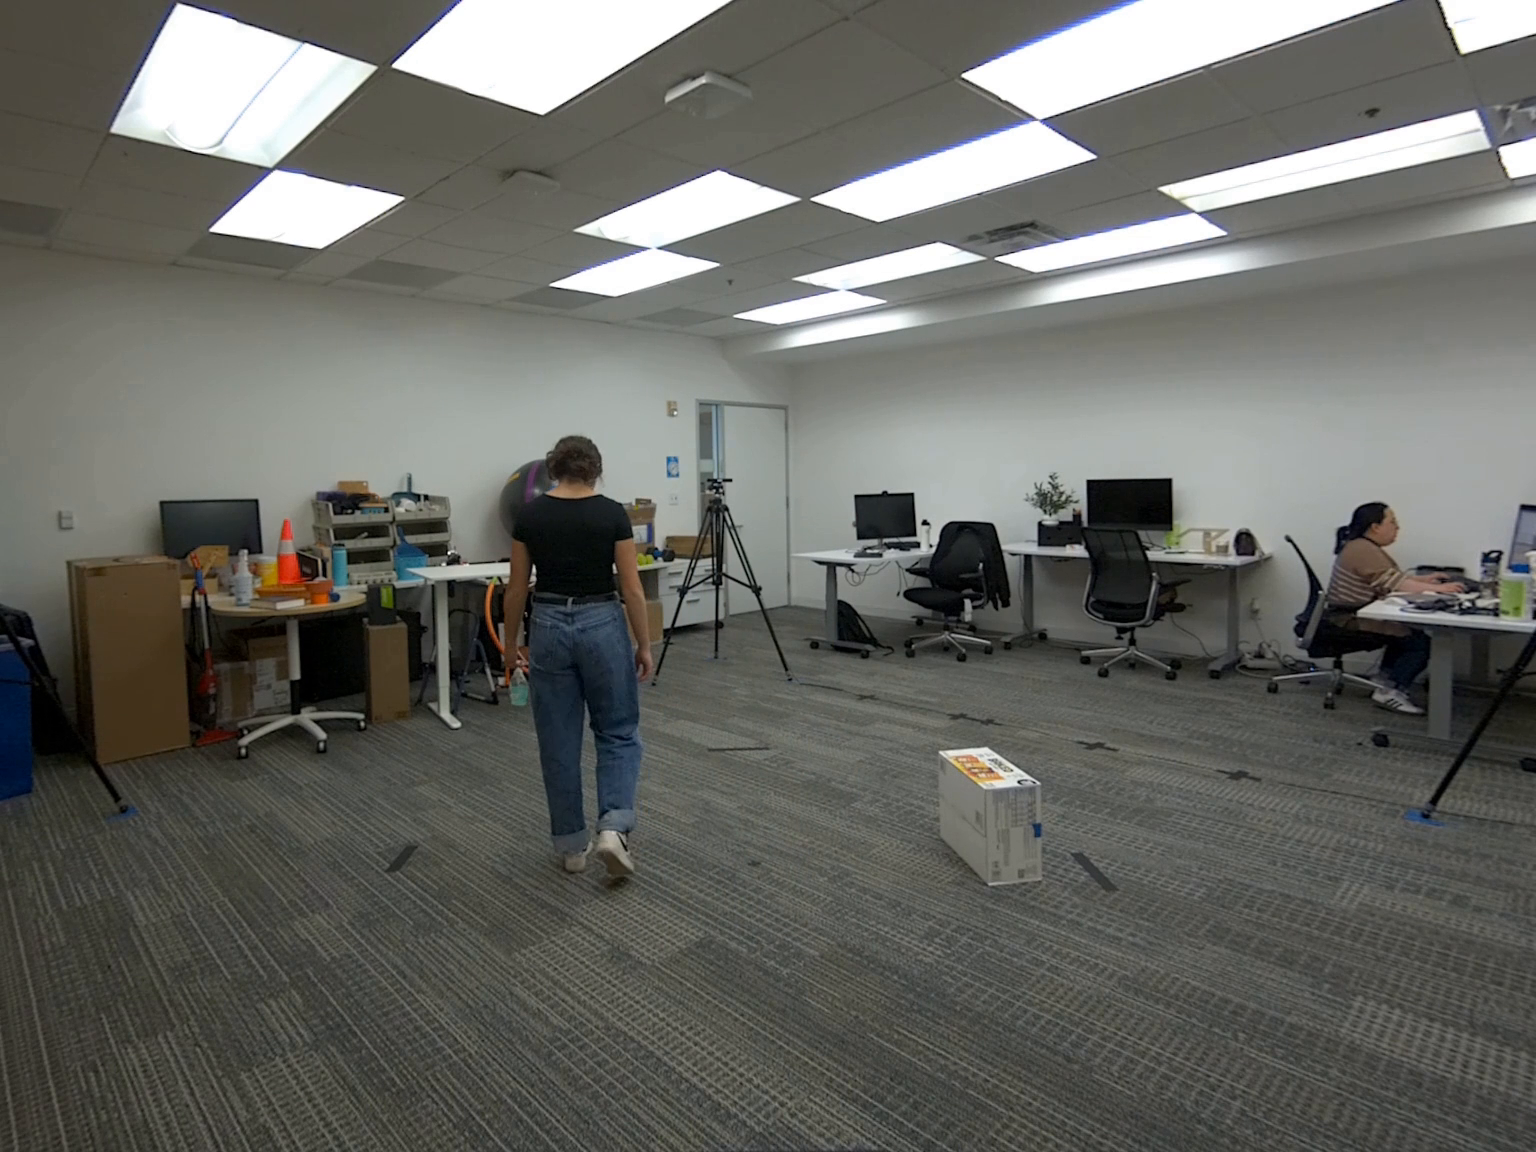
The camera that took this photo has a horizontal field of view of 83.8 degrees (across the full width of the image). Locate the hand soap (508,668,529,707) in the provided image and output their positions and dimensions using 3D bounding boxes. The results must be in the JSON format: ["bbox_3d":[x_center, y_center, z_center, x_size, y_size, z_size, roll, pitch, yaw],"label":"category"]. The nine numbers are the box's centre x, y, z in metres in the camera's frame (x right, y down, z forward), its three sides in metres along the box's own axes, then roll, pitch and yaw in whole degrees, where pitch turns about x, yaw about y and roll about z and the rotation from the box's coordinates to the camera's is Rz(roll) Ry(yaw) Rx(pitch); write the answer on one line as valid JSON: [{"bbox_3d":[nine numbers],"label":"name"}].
[{"bbox_3d":[-0.949,0.412,3.258,0.087,0.167,0.042,7,7,29],"label":"hand soap"}]
